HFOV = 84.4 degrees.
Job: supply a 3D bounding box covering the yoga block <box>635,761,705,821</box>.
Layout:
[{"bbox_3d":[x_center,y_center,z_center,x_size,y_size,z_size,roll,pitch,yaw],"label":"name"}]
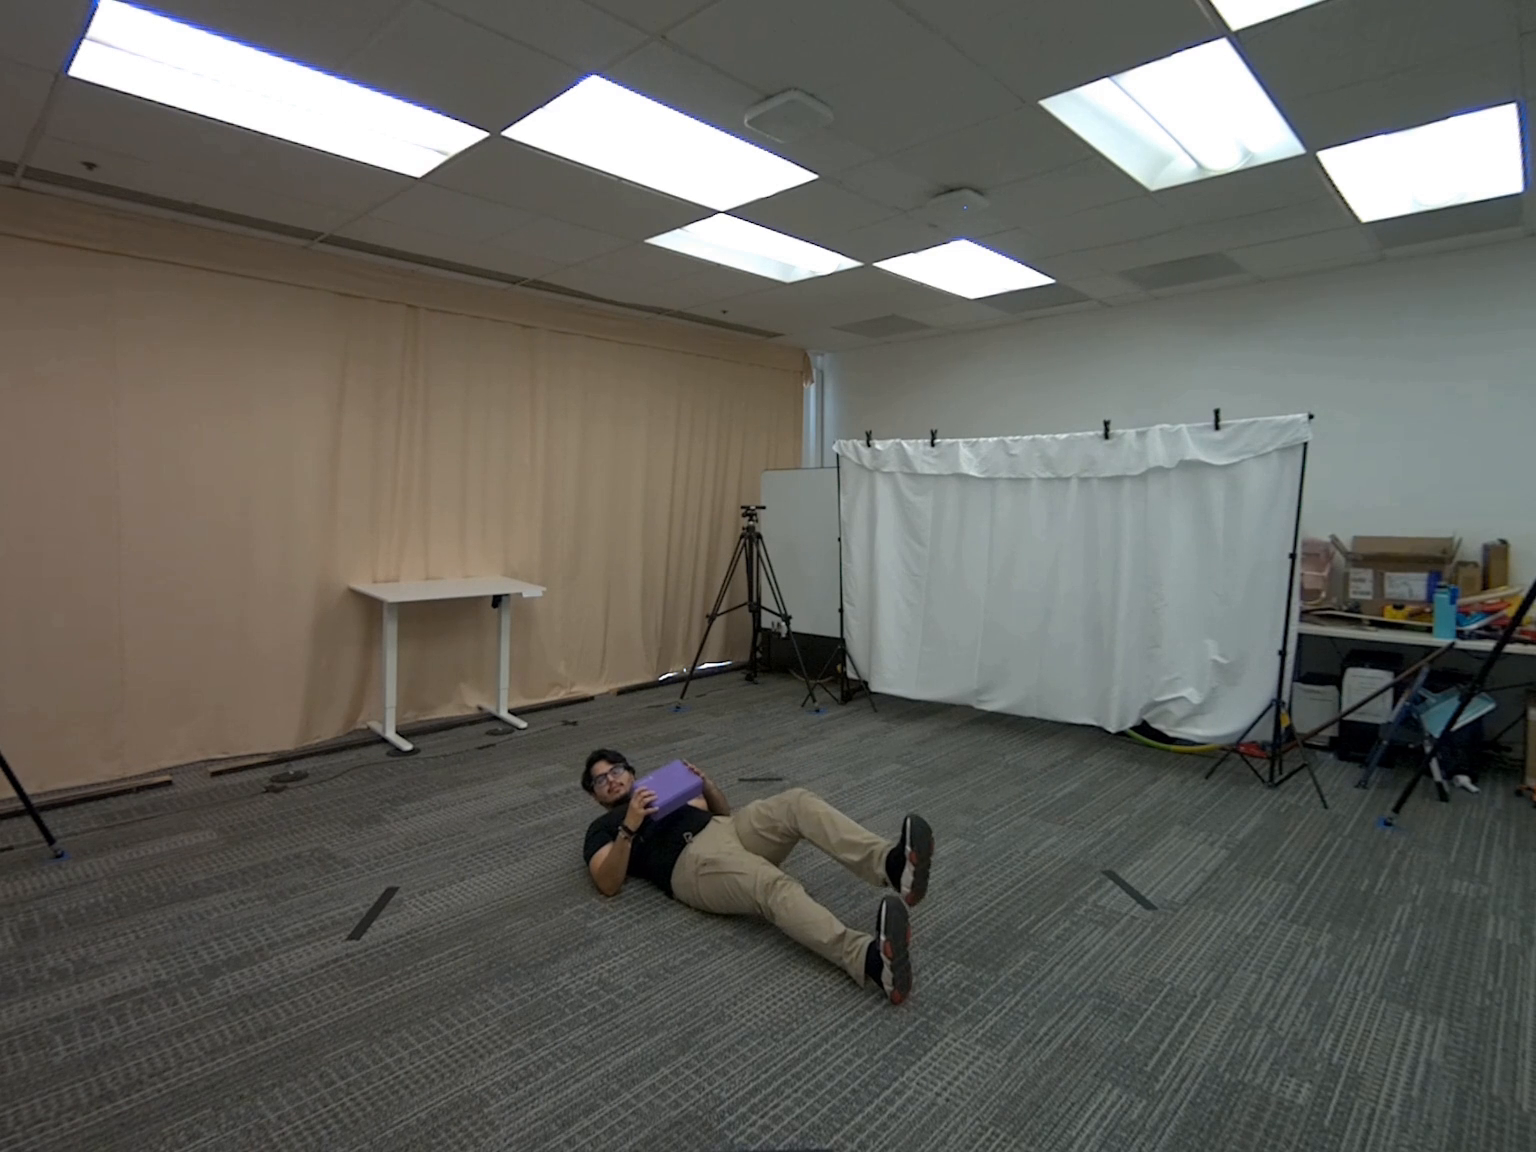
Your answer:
[{"bbox_3d":[-0.360,0.775,3.038,0.224,0.075,0.154,-19,39,-40],"label":"yoga block"}]
